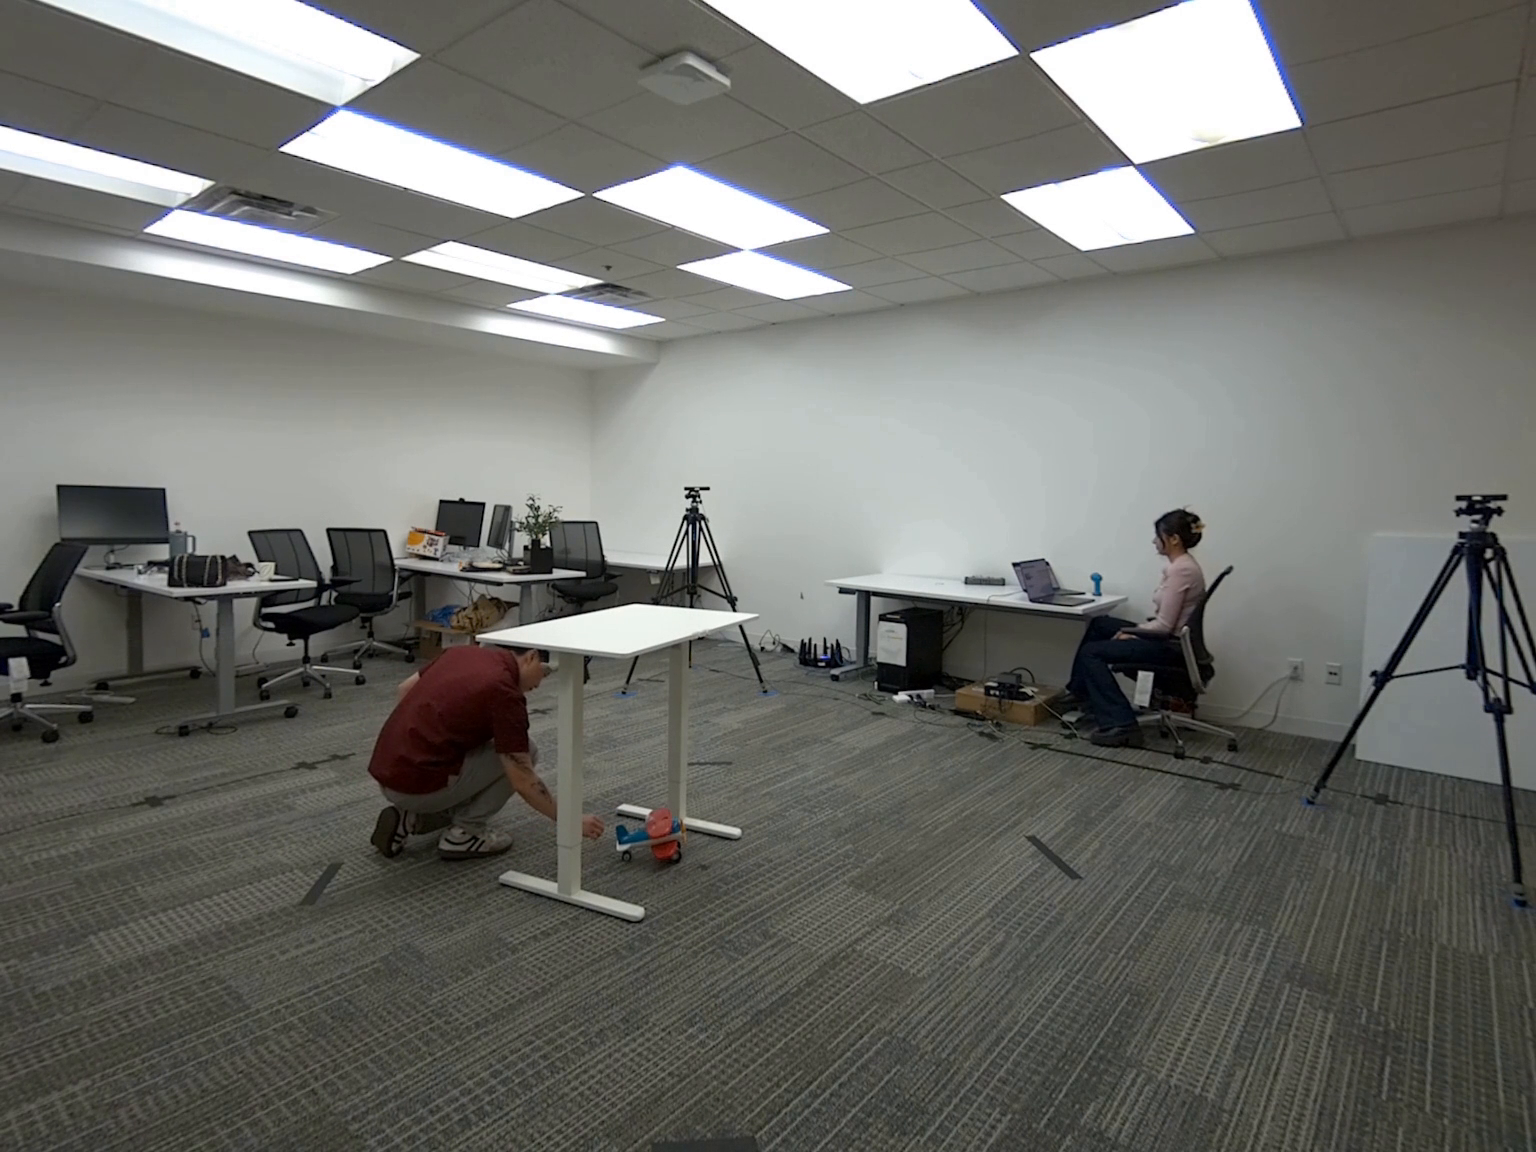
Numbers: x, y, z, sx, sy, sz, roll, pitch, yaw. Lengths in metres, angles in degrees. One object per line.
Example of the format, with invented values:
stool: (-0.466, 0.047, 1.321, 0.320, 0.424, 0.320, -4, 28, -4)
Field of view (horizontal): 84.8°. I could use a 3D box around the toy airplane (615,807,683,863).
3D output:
toy airplane: (-0.453, 0.990, 3.162, 0.252, 0.156, 0.259, -2, 6, -34)
